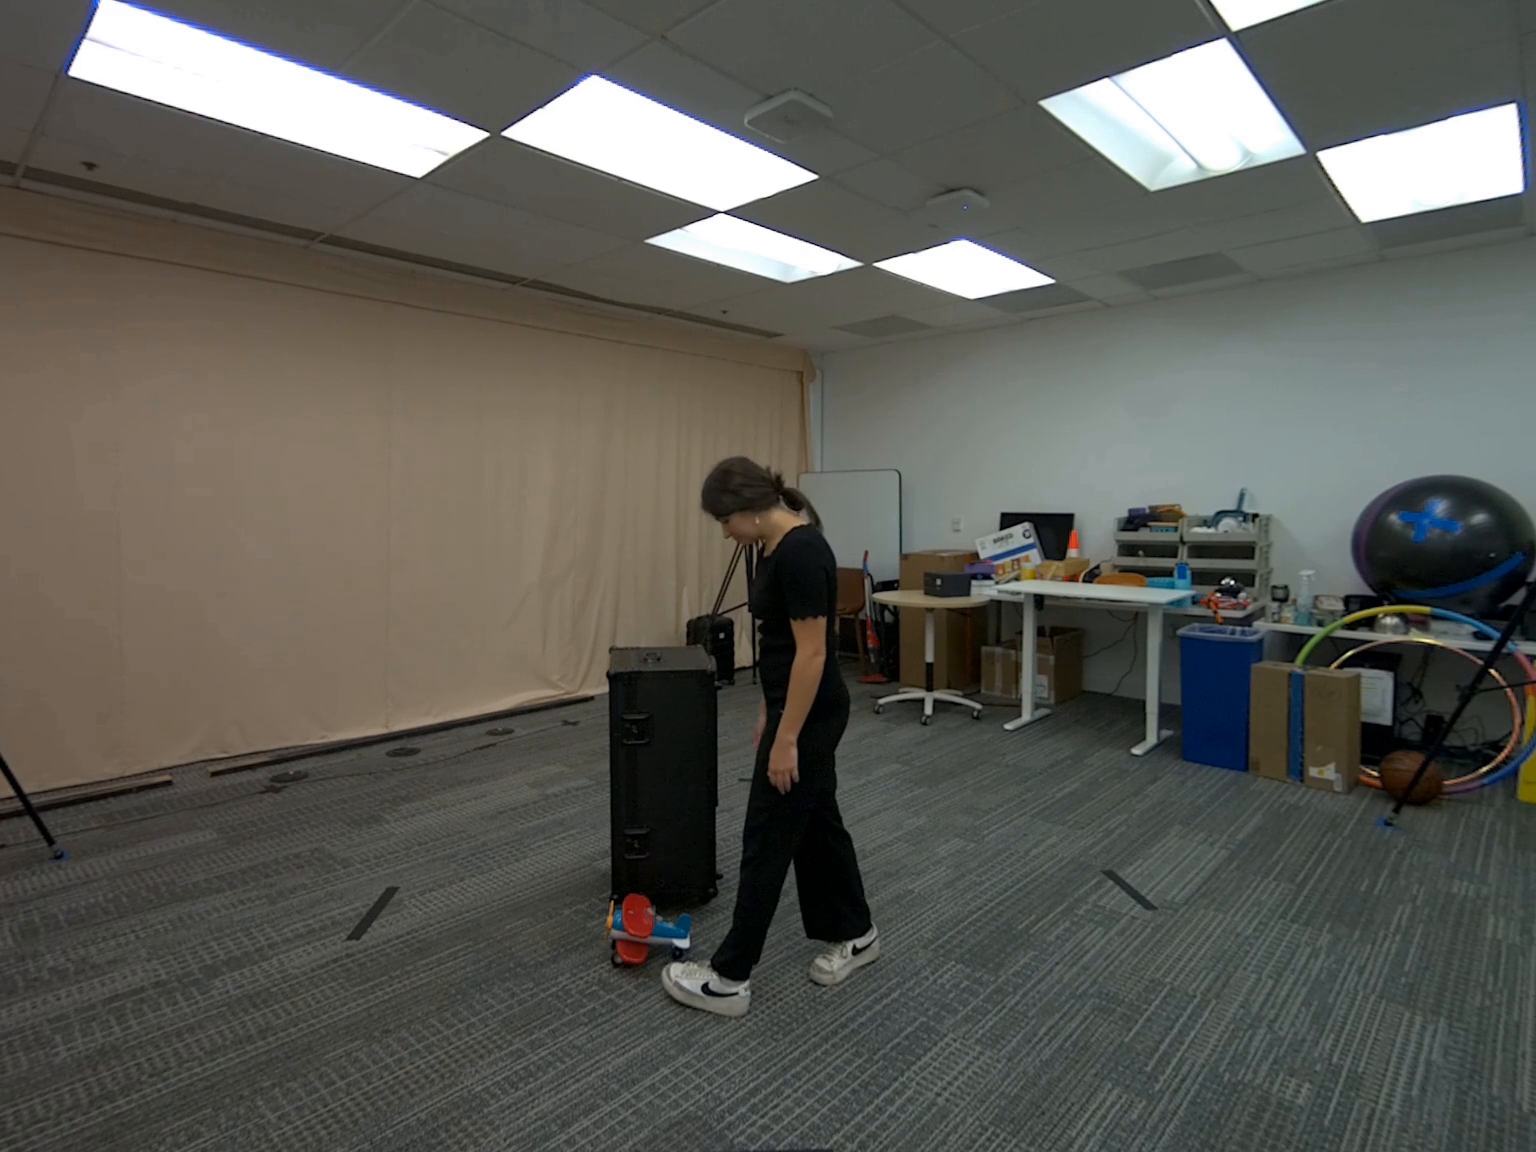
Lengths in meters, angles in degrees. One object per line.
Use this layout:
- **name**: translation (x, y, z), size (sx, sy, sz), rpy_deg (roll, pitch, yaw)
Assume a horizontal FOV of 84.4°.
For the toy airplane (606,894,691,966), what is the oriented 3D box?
- **toy airplane**: translation (-0.380, 1.100, 2.617), size (0.252, 0.156, 0.259), rpy_deg (-4, 6, -34)
